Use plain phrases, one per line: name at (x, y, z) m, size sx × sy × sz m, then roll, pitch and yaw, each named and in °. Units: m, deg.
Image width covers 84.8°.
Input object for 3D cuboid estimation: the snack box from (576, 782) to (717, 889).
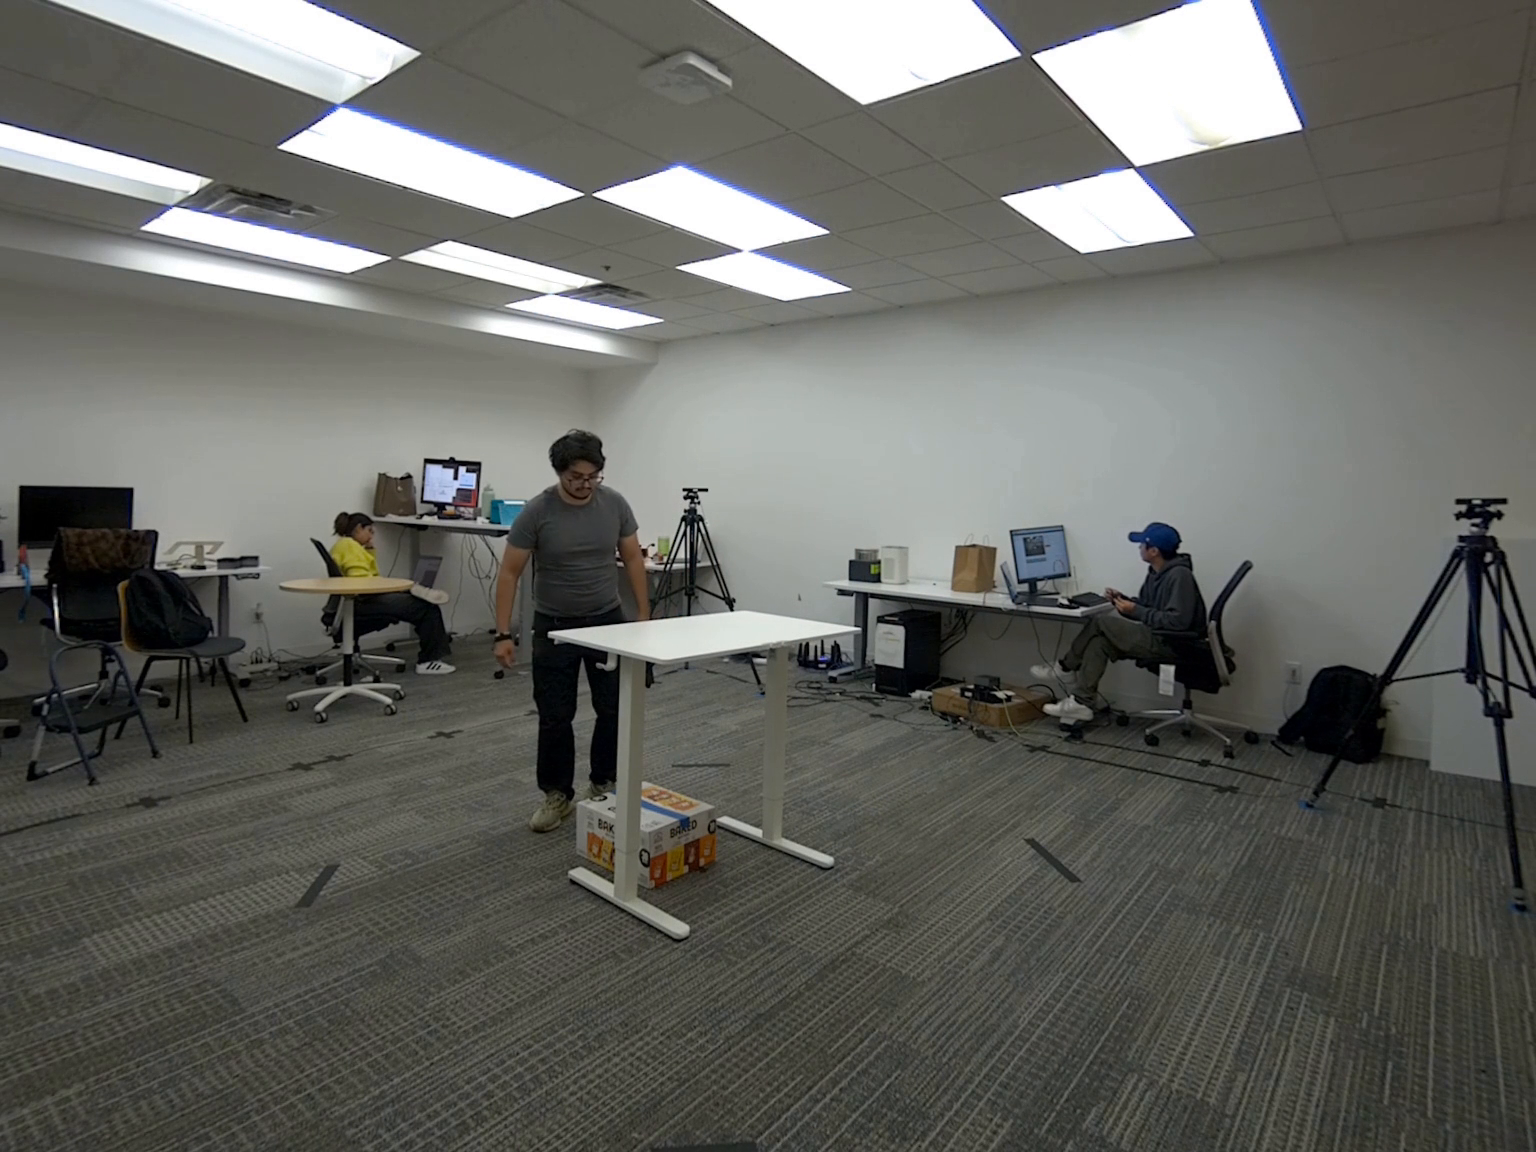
snack box at (-0.468, 0.958, 3.189) m, size 0.419 × 0.205 × 0.330 m, roll 5°, pitch 6°, yaw 41°
